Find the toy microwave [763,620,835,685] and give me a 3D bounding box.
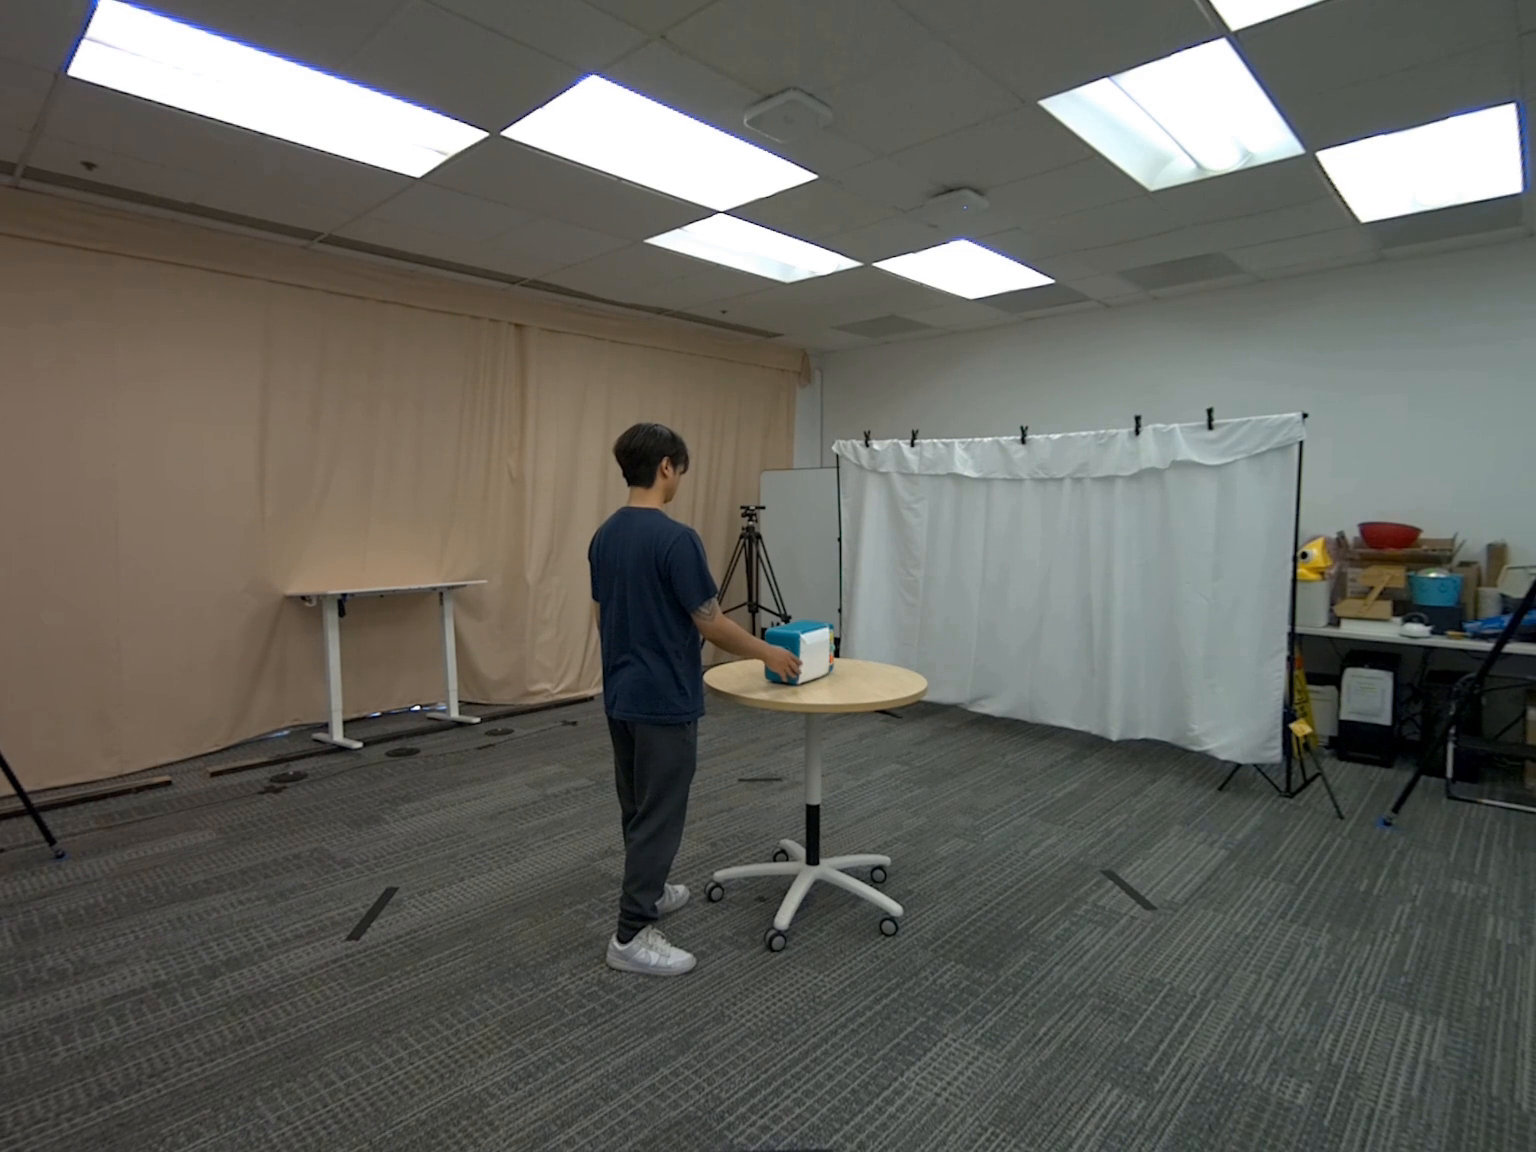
[{"bbox_3d":[0.131,0.265,2.897,0.157,0.183,0.279,4,6,28],"label":"toy microwave"}]
